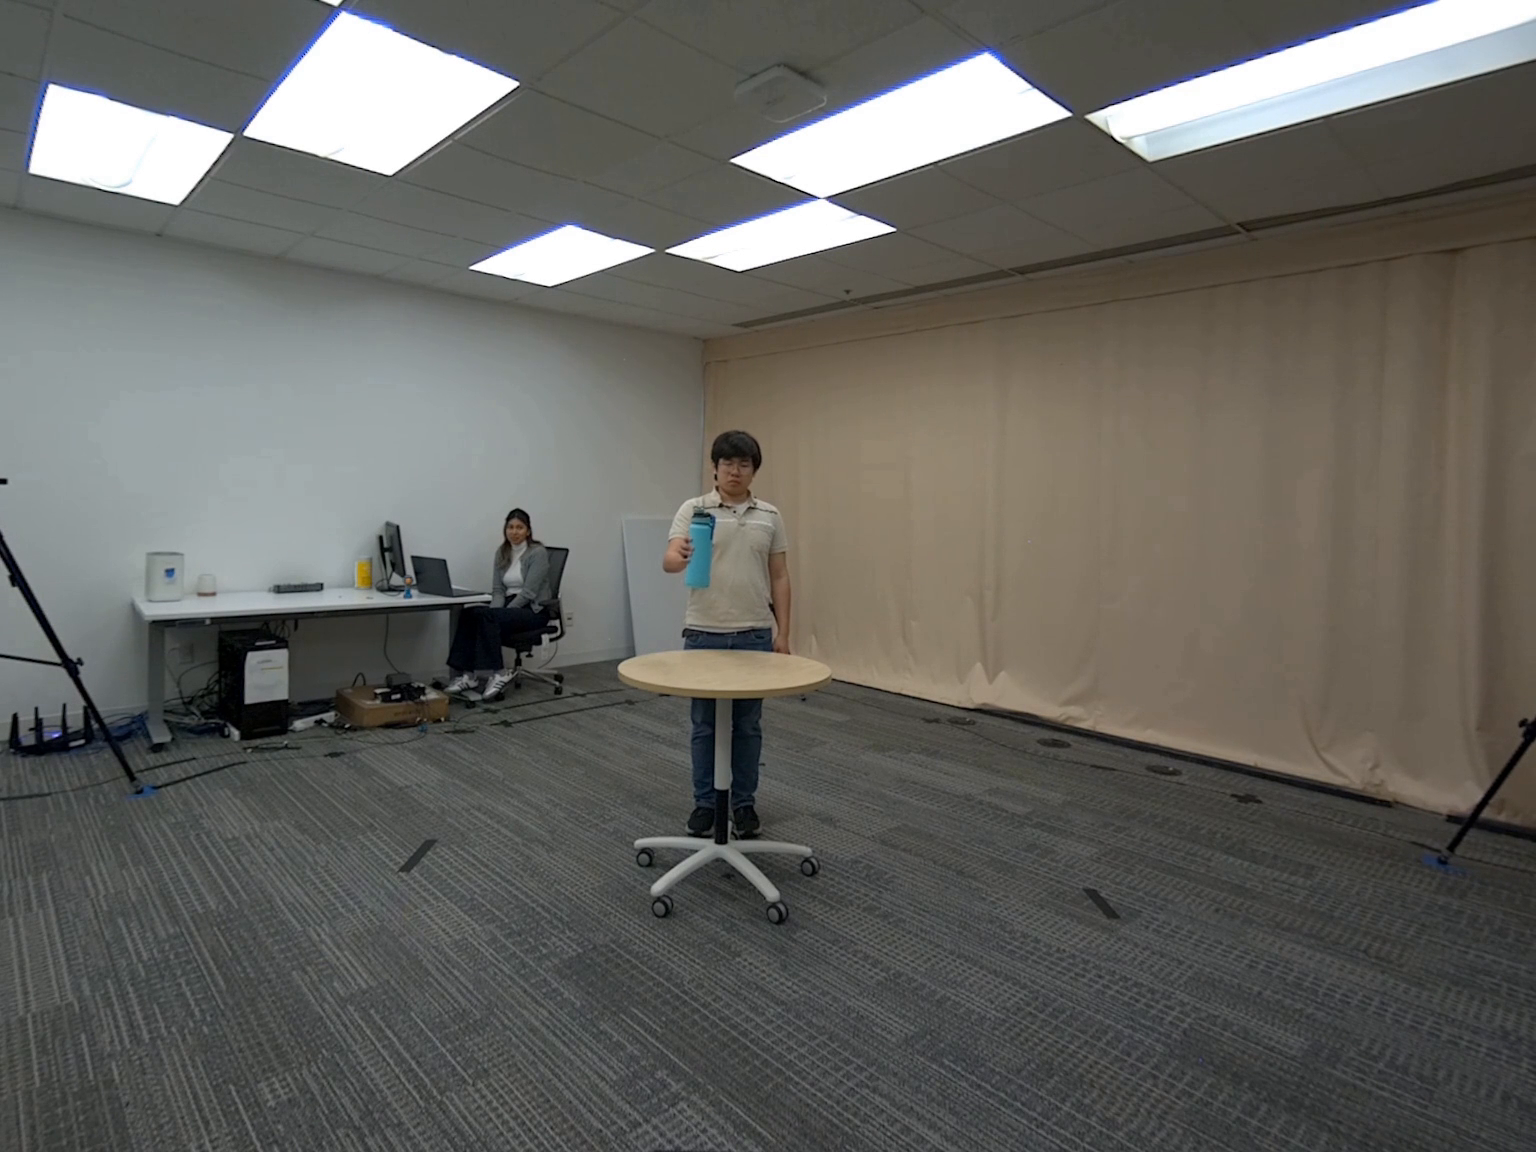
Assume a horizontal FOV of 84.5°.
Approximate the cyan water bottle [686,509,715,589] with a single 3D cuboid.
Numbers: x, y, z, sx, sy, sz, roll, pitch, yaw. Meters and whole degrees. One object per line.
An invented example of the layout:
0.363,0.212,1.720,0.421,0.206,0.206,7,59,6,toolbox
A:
-0.250,-0.104,3.053,0.092,0.283,0.092,8,4,-2,cyan water bottle
